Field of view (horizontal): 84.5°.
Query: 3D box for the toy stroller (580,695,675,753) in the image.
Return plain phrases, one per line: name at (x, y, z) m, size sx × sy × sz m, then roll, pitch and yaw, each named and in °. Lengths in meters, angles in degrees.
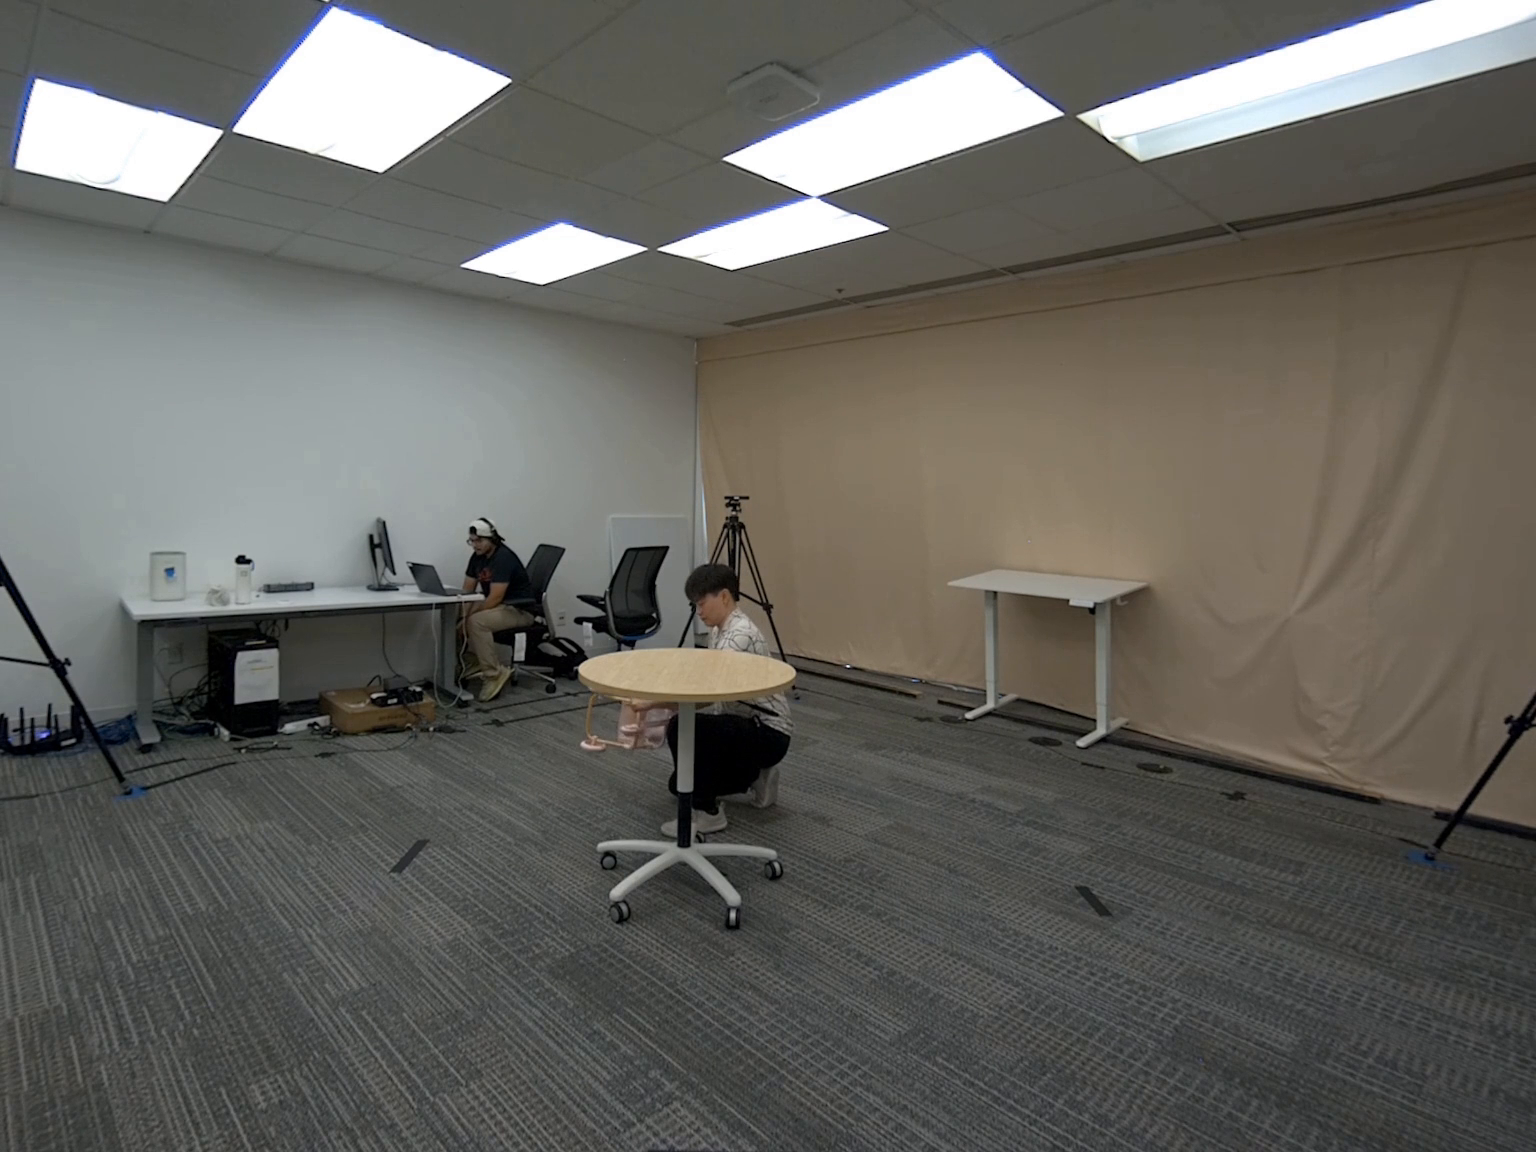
toy stroller at (-0.568, 0.618, 3.641) m, size 0.349 × 0.282 × 0.522 m, roll 3°, pitch -4°, yaw 30°
